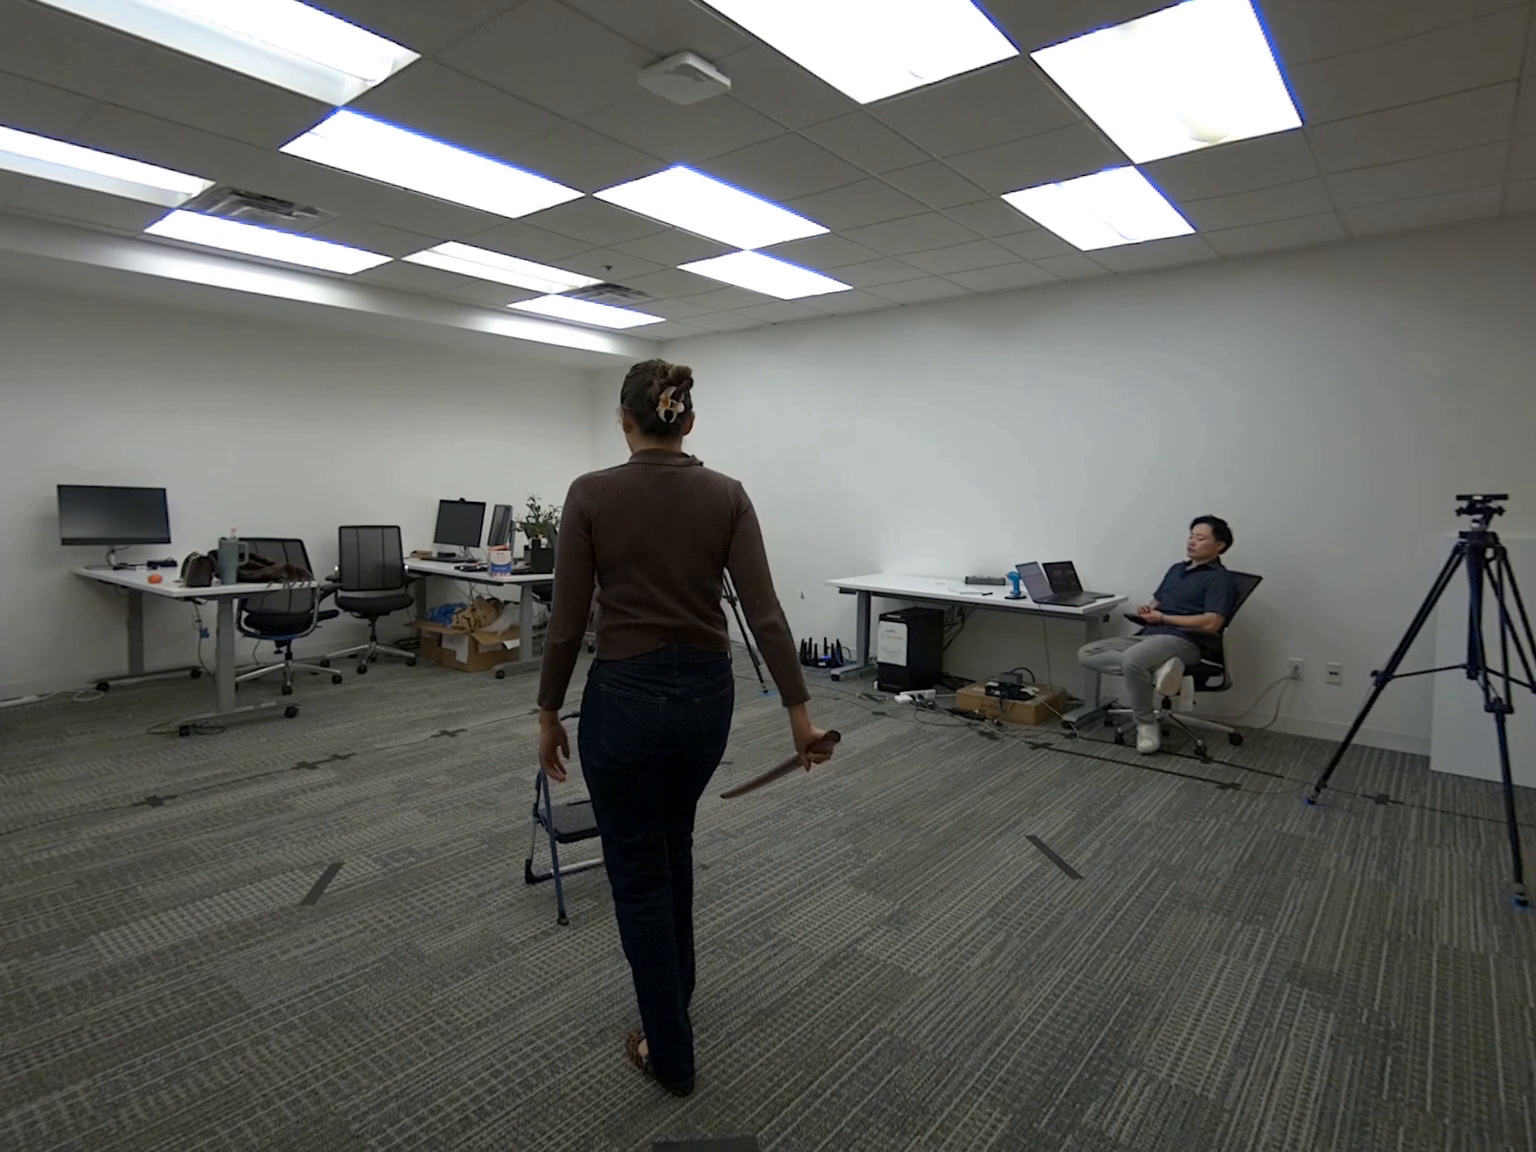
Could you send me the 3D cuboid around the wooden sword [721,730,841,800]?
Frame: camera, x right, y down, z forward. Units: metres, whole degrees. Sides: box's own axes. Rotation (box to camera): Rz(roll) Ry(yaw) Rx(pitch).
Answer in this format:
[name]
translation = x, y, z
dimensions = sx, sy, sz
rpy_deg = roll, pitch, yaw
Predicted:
[wooden sword]
translation = -0.013, 0.522, 2.232
dimensions = 0.051, 0.024, 1.020
rpy_deg = 31, -27, -4
